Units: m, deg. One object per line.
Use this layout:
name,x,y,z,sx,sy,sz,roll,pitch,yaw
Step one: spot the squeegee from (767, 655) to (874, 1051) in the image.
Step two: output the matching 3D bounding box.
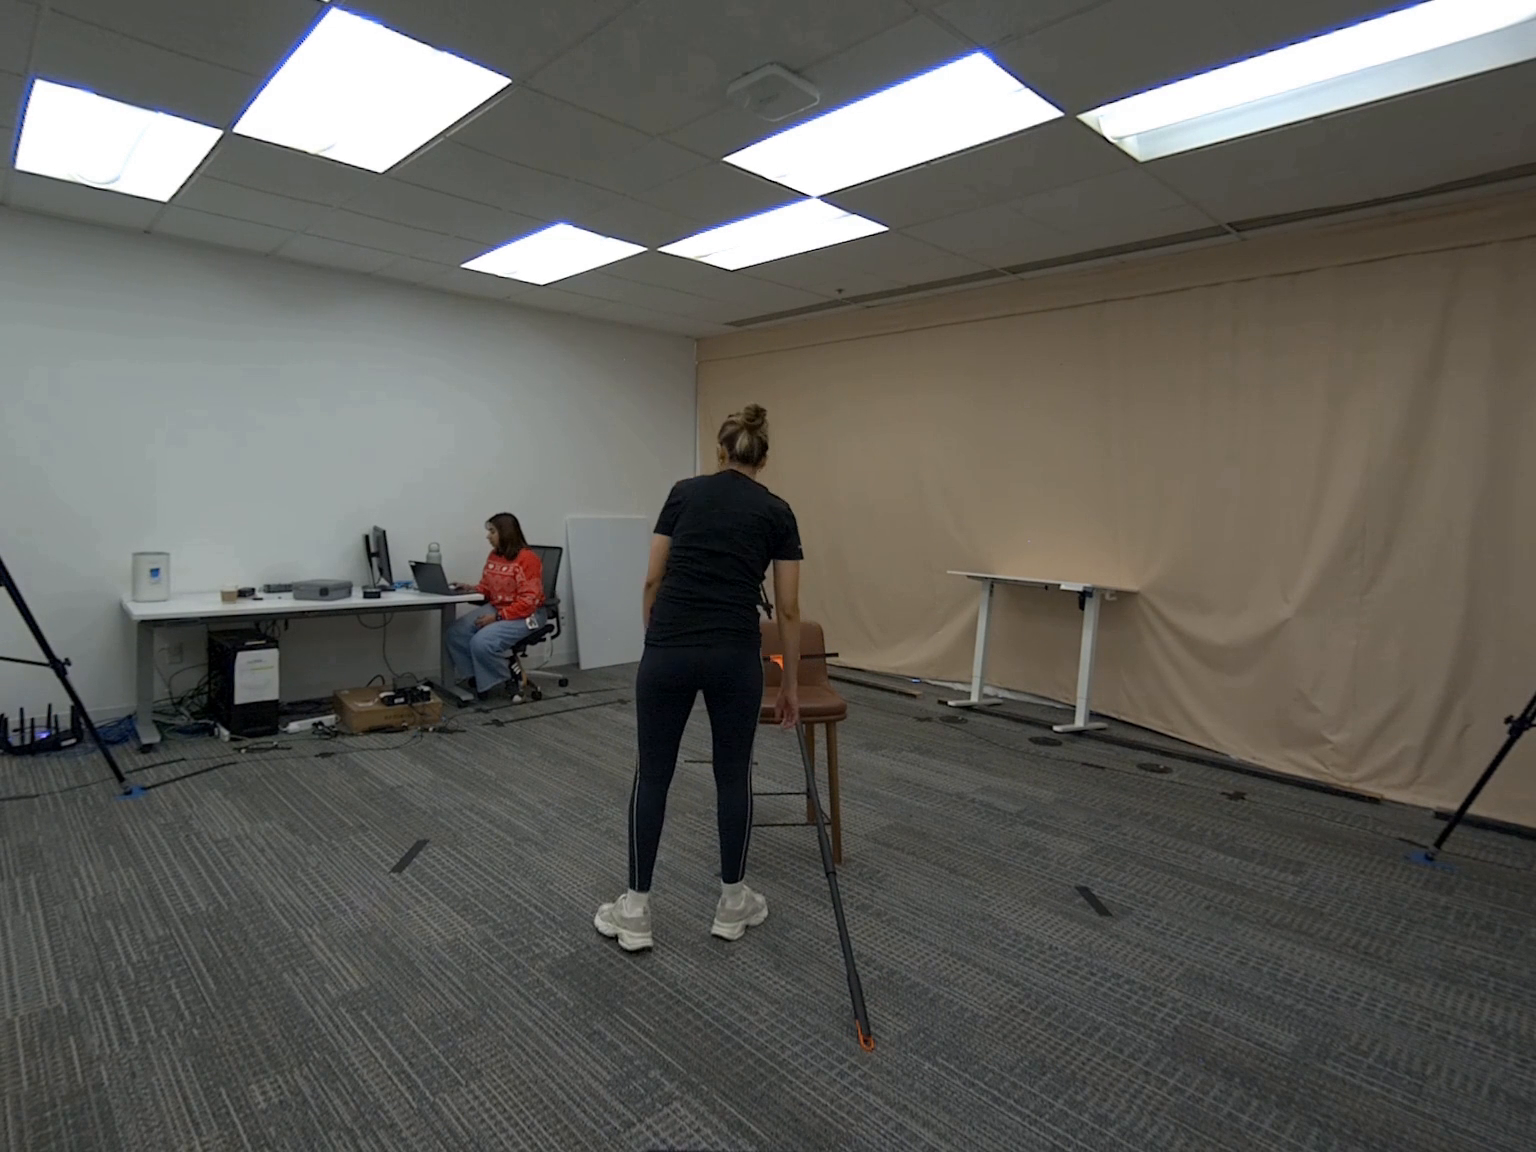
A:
squeegee,0.176,0.765,2.780,0.053,0.425,1.576,-36,31,14
